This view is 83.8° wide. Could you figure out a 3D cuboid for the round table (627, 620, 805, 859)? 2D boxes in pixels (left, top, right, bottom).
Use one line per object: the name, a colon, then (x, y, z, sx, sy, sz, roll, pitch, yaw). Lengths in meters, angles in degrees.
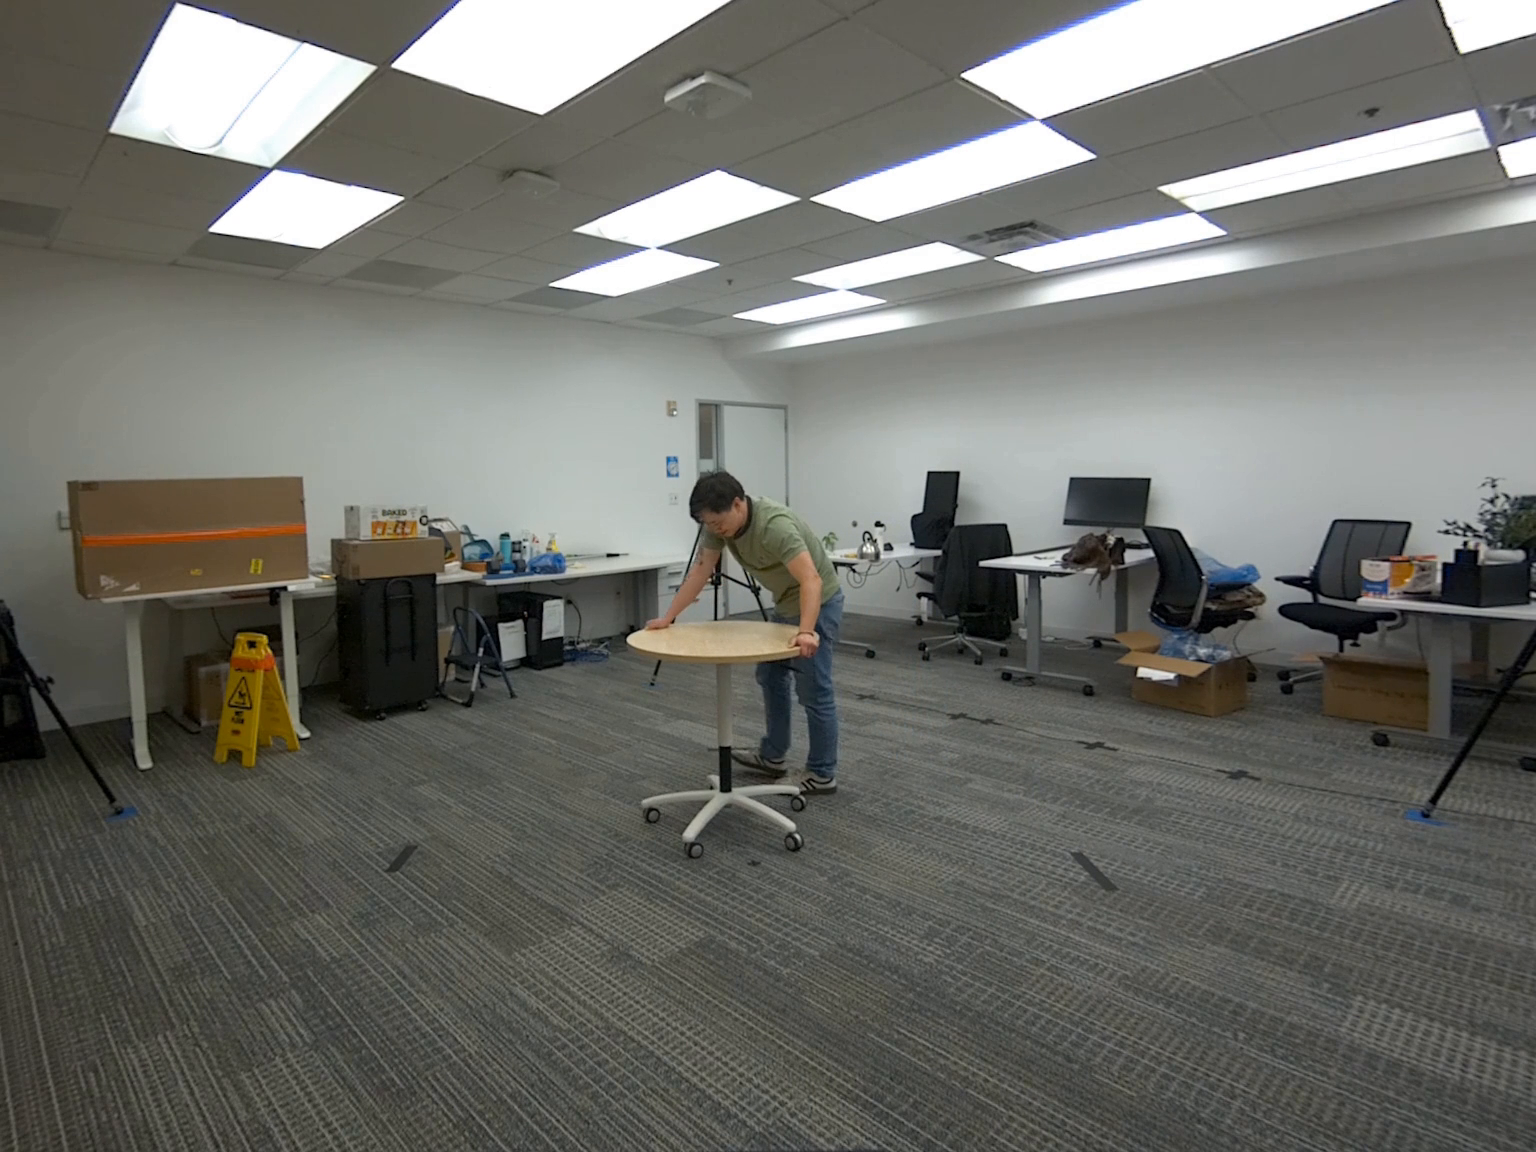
round table: (-0.174, 0.626, 3.432, 0.763, 0.791, 0.768, -1, 5, -2)
